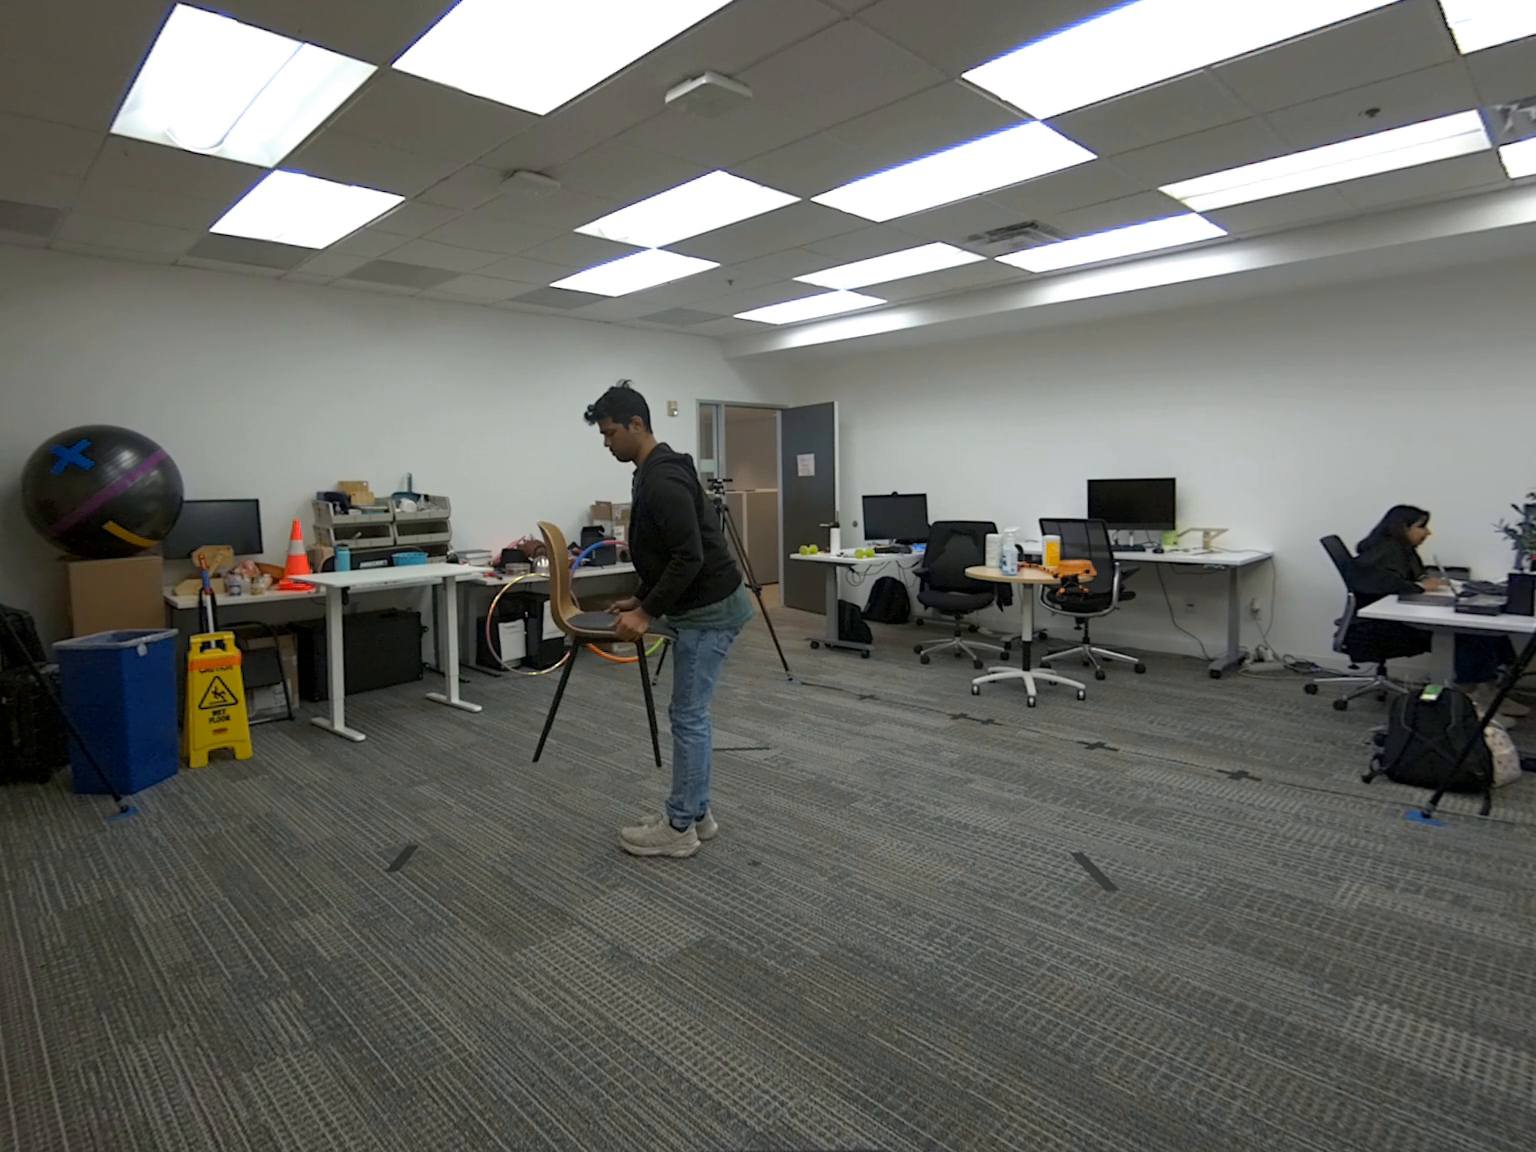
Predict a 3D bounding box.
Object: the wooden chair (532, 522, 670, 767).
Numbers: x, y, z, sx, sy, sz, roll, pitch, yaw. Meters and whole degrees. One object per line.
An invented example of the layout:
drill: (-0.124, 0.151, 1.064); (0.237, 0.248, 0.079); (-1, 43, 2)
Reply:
wooden chair: (-0.604, 0.235, 3.232); (0.519, 0.877, 0.482); (0, 1, -8)
